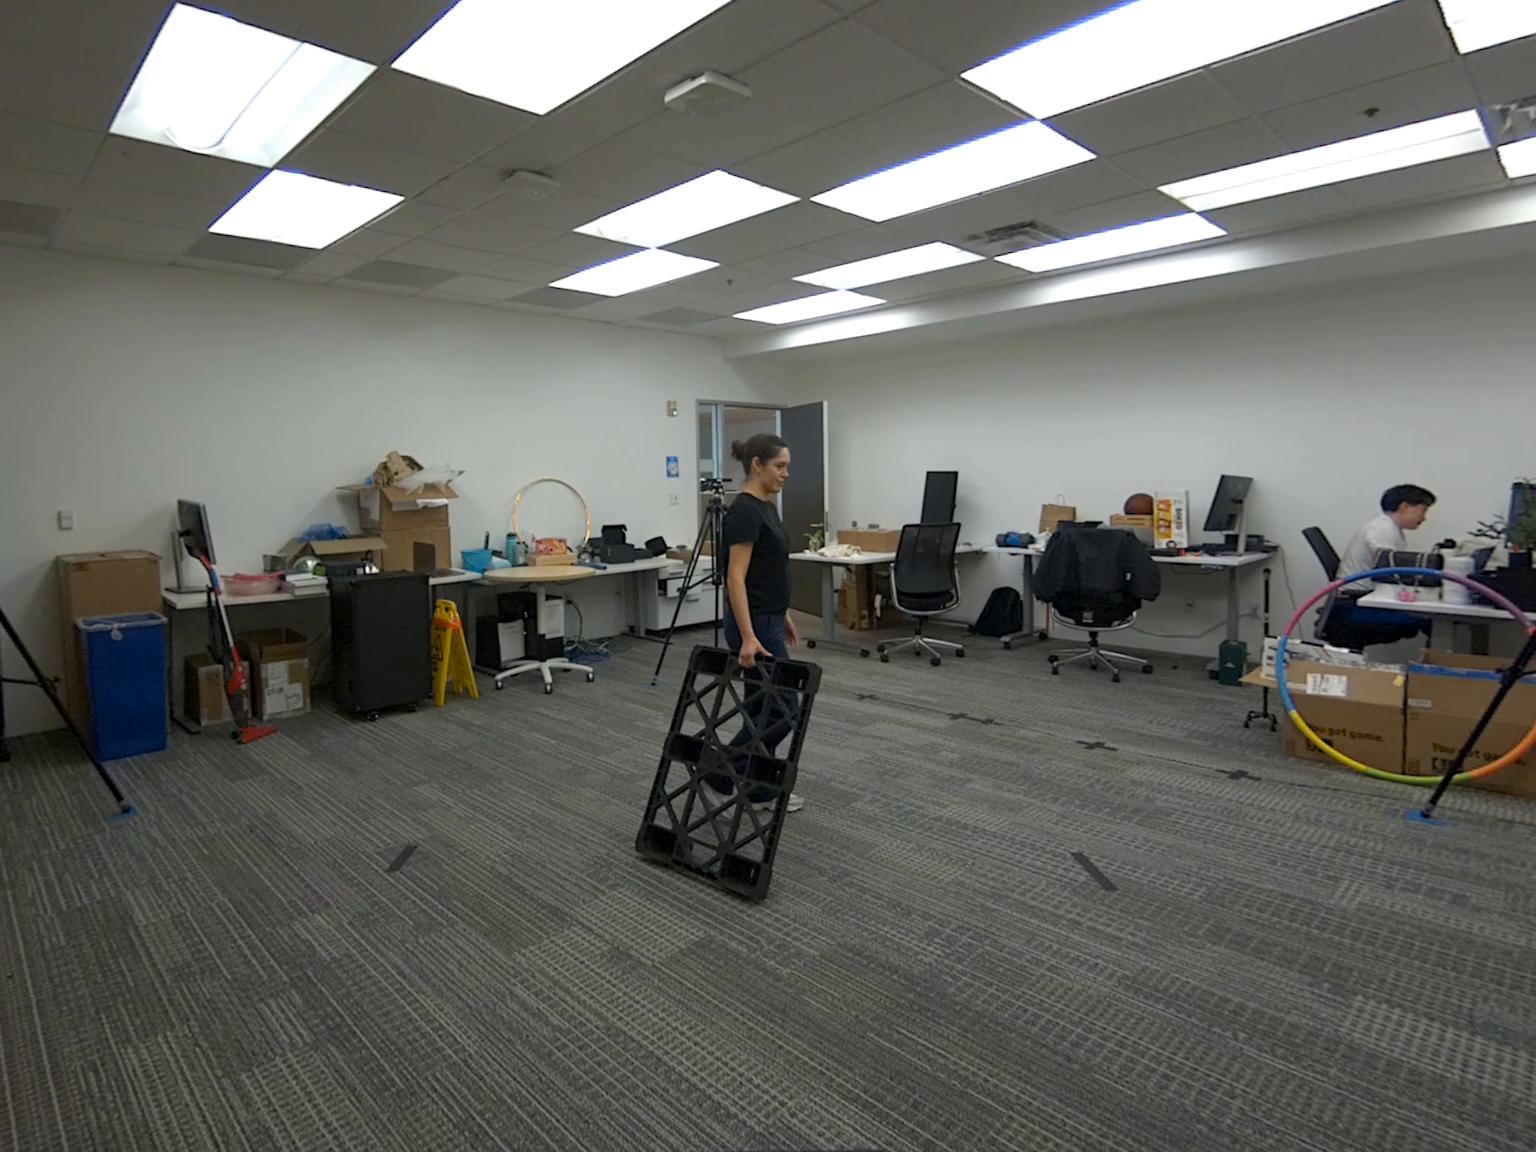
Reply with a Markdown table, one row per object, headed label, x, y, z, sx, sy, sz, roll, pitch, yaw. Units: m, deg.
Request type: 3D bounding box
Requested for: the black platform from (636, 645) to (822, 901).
| label | x | y | z | sx | sy | sz | roll | pitch | yaw |
| --- | --- | --- | --- | --- | --- | --- | --- | --- | --- |
| black platform | -0.128 | 0.677 | 3.133 | 0.623 | 0.813 | 0.138 | 3 | -20 | 39 |
